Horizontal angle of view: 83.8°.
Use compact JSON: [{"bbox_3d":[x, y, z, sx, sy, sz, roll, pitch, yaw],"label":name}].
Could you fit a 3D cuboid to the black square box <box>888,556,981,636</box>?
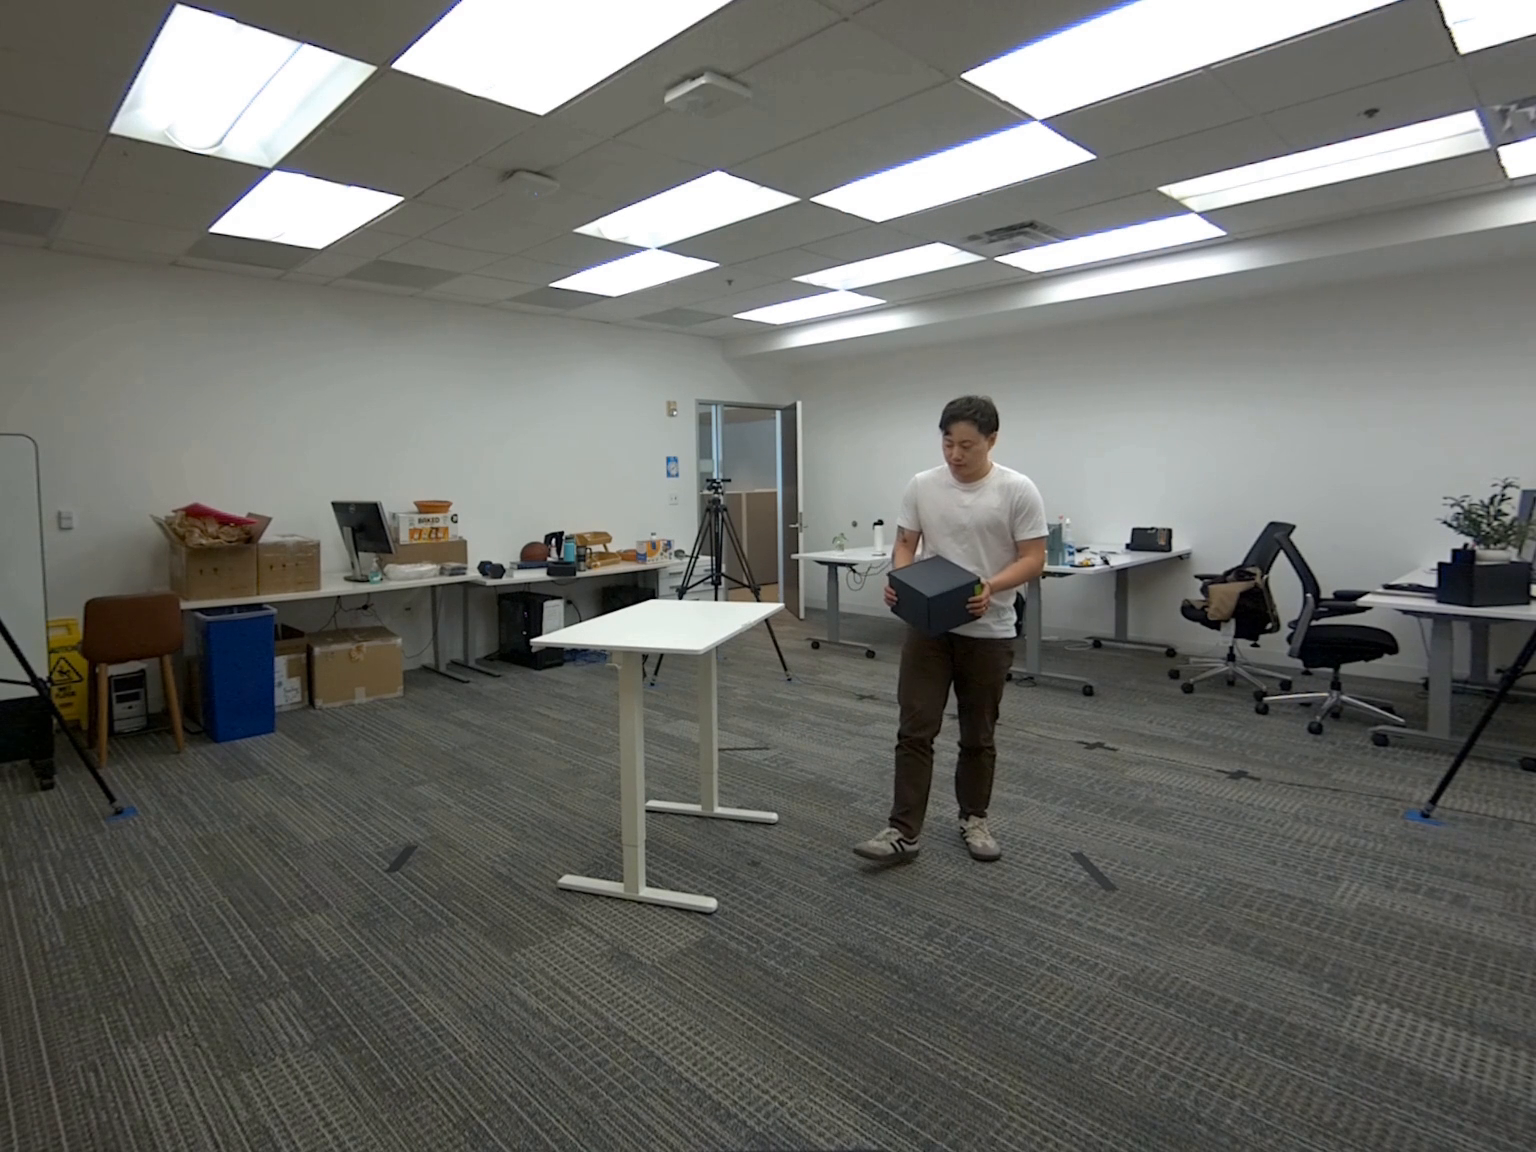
[{"bbox_3d":[0.564,0.065,2.880,0.214,0.152,0.236,-17,26,-18],"label":"black square box"}]
